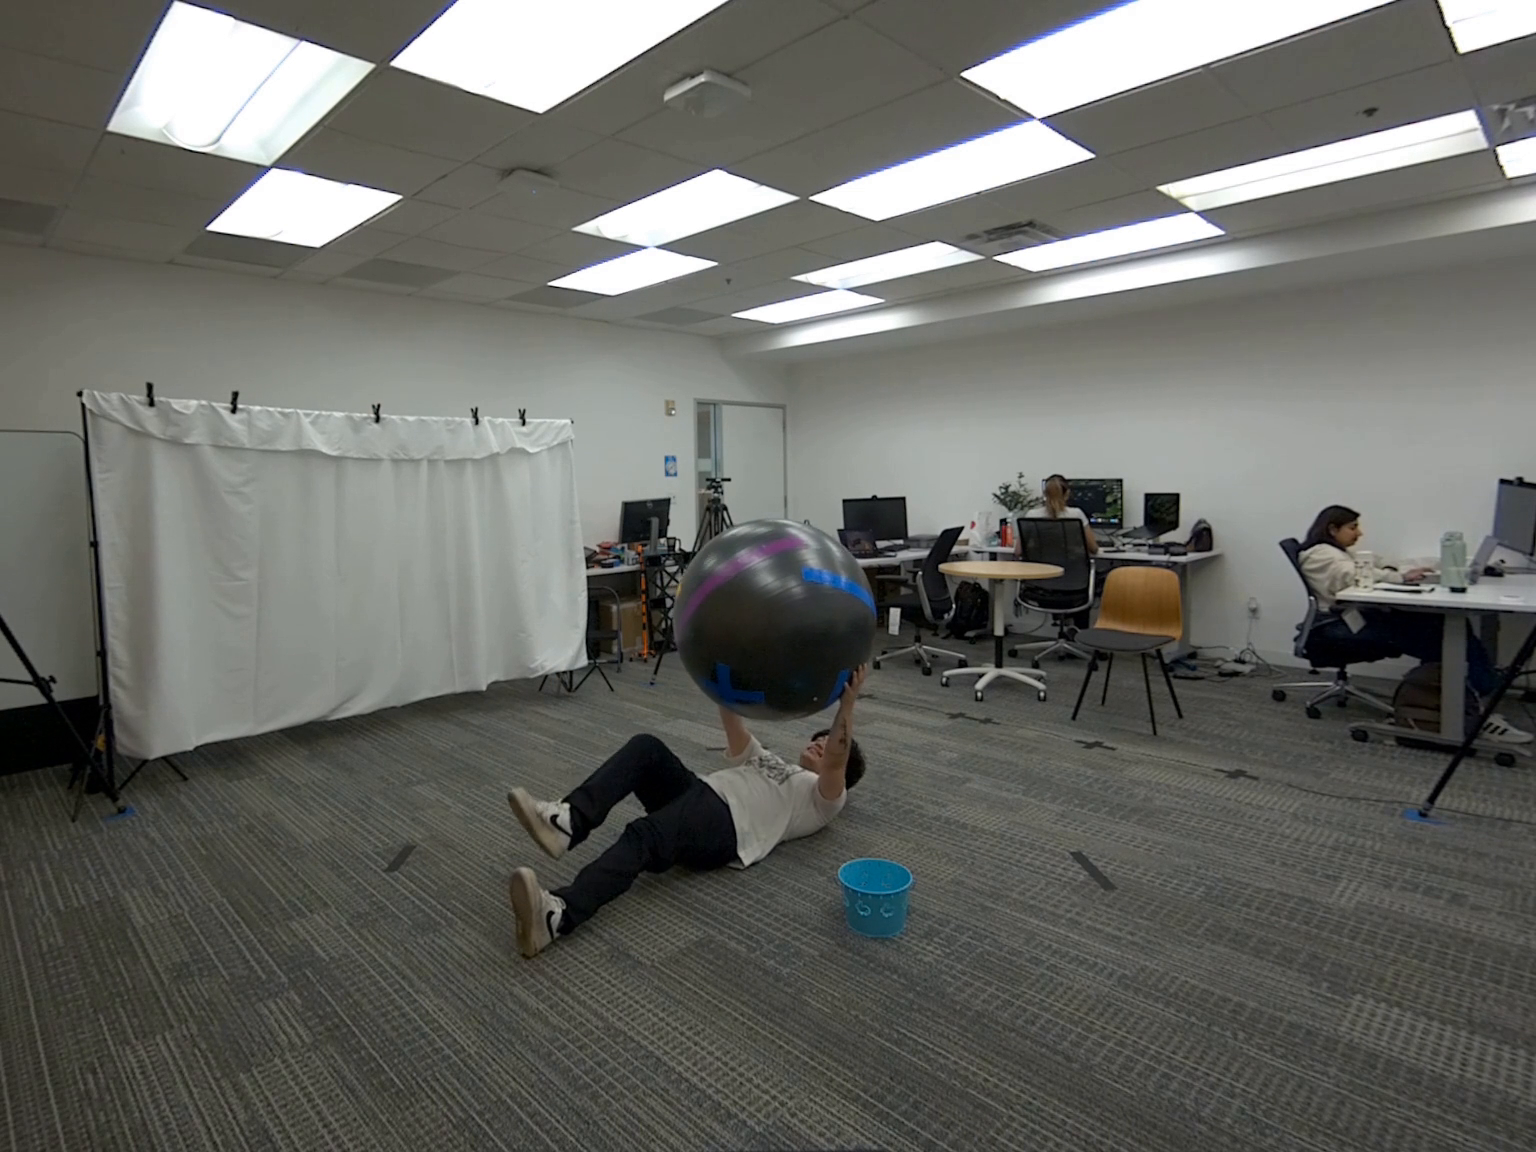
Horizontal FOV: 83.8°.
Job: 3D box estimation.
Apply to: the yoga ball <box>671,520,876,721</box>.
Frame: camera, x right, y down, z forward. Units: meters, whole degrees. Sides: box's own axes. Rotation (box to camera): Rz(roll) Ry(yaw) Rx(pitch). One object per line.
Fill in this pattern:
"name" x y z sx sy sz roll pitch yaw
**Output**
"yoga ball" 0.023 0.164 3.216 0.757 0.755 0.762 -1 5 -2
